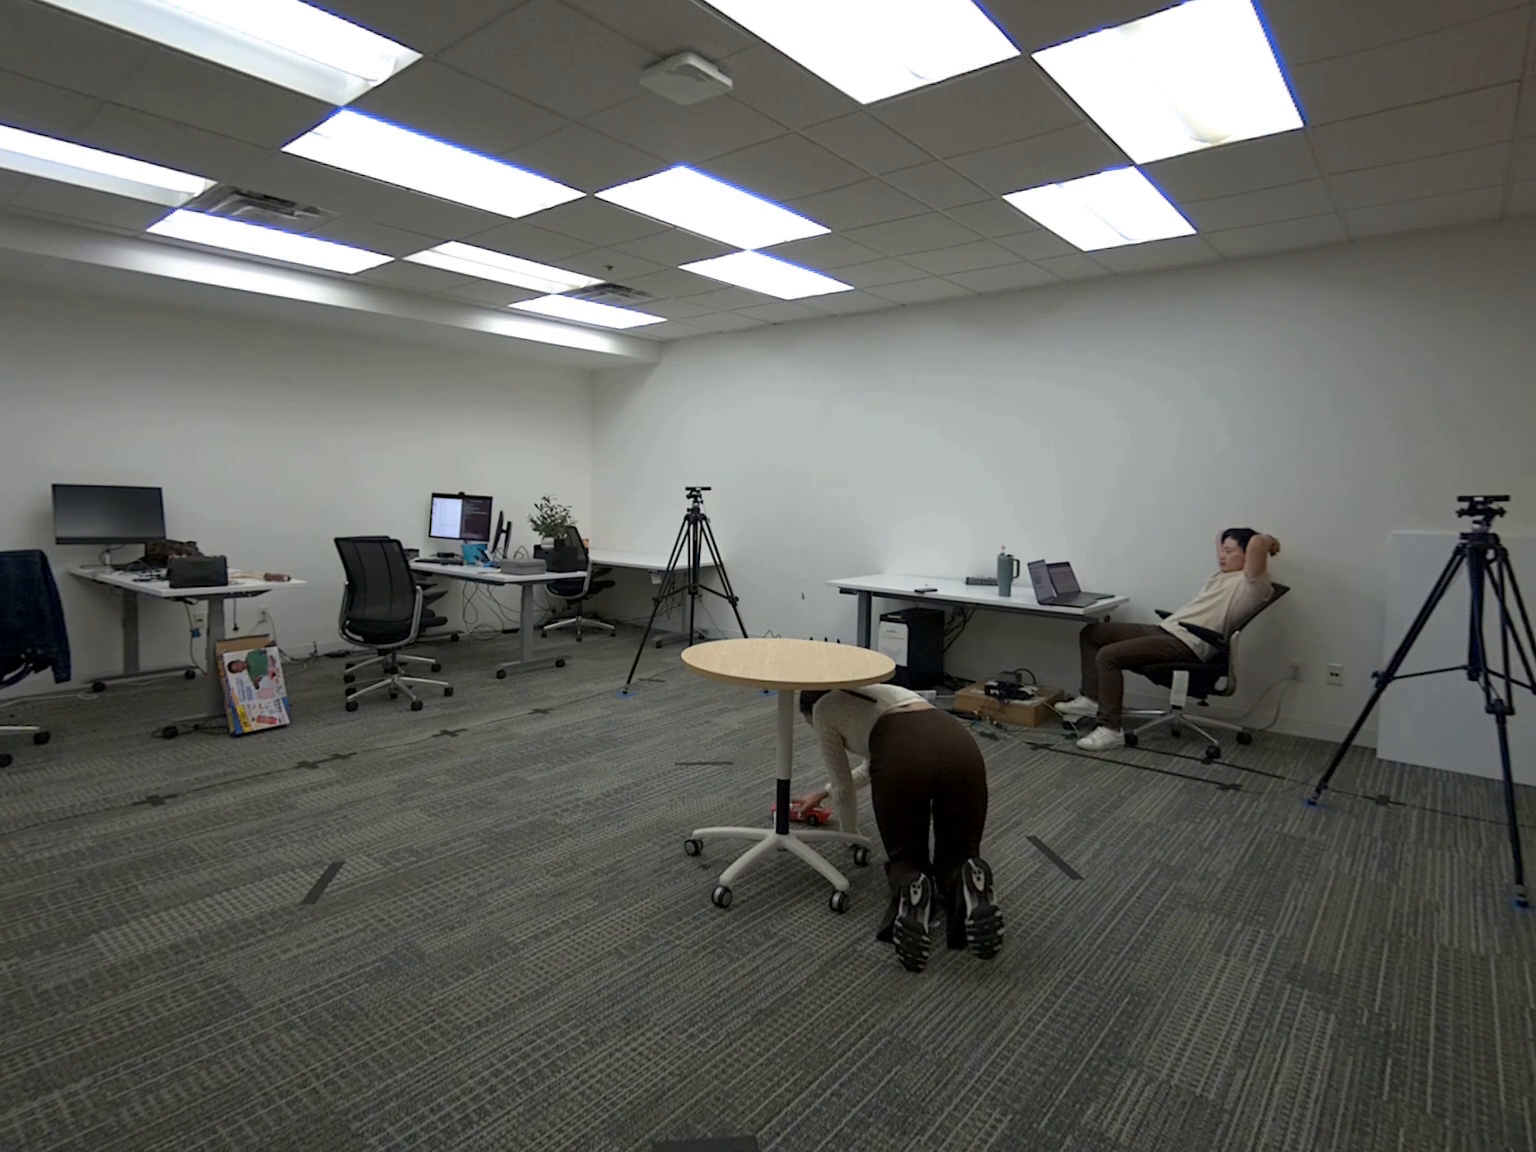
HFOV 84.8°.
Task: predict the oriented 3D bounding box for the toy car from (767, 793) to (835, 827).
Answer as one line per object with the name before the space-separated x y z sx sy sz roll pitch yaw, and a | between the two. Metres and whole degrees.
toy car | 0.139 0.991 3.569 0.258 0.083 0.128 -8 1 15
